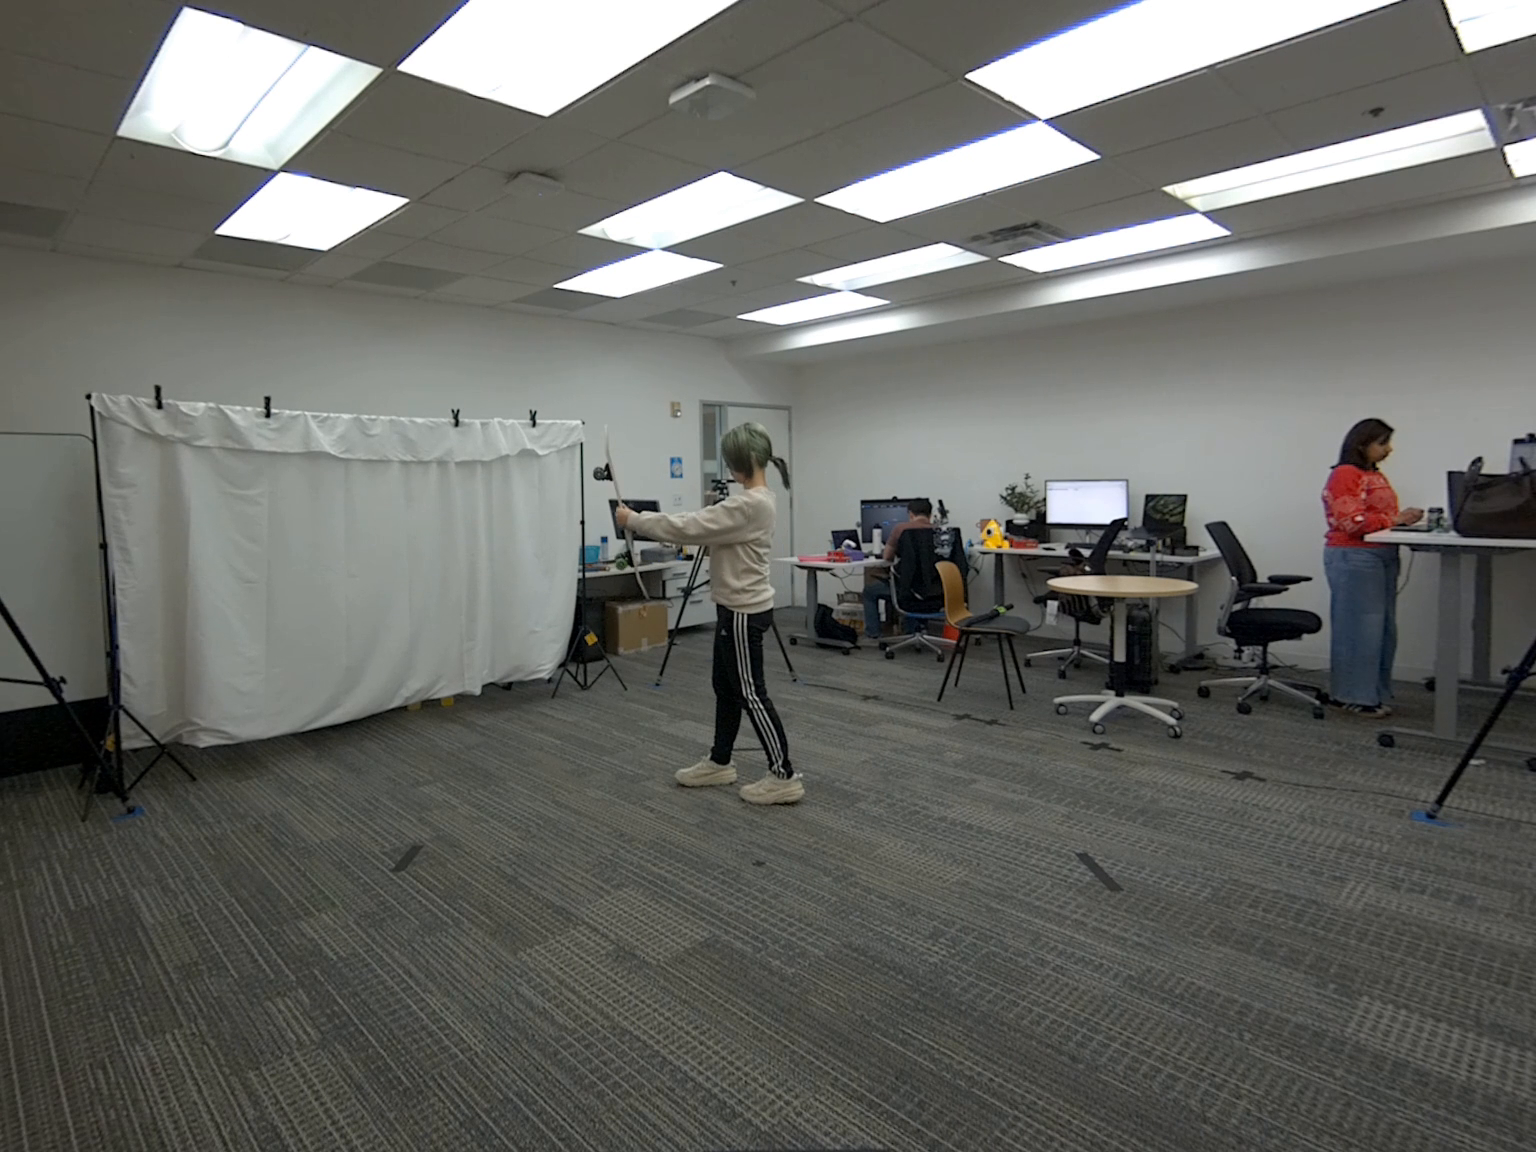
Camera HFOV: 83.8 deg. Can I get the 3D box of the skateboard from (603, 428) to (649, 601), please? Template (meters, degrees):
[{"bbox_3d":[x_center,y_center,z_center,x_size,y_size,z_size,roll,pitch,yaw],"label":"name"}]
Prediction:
[{"bbox_3d":[-0.667,-0.266,3.746,0.110,0.779,0.196,-12,8,-9],"label":"skateboard"}]
